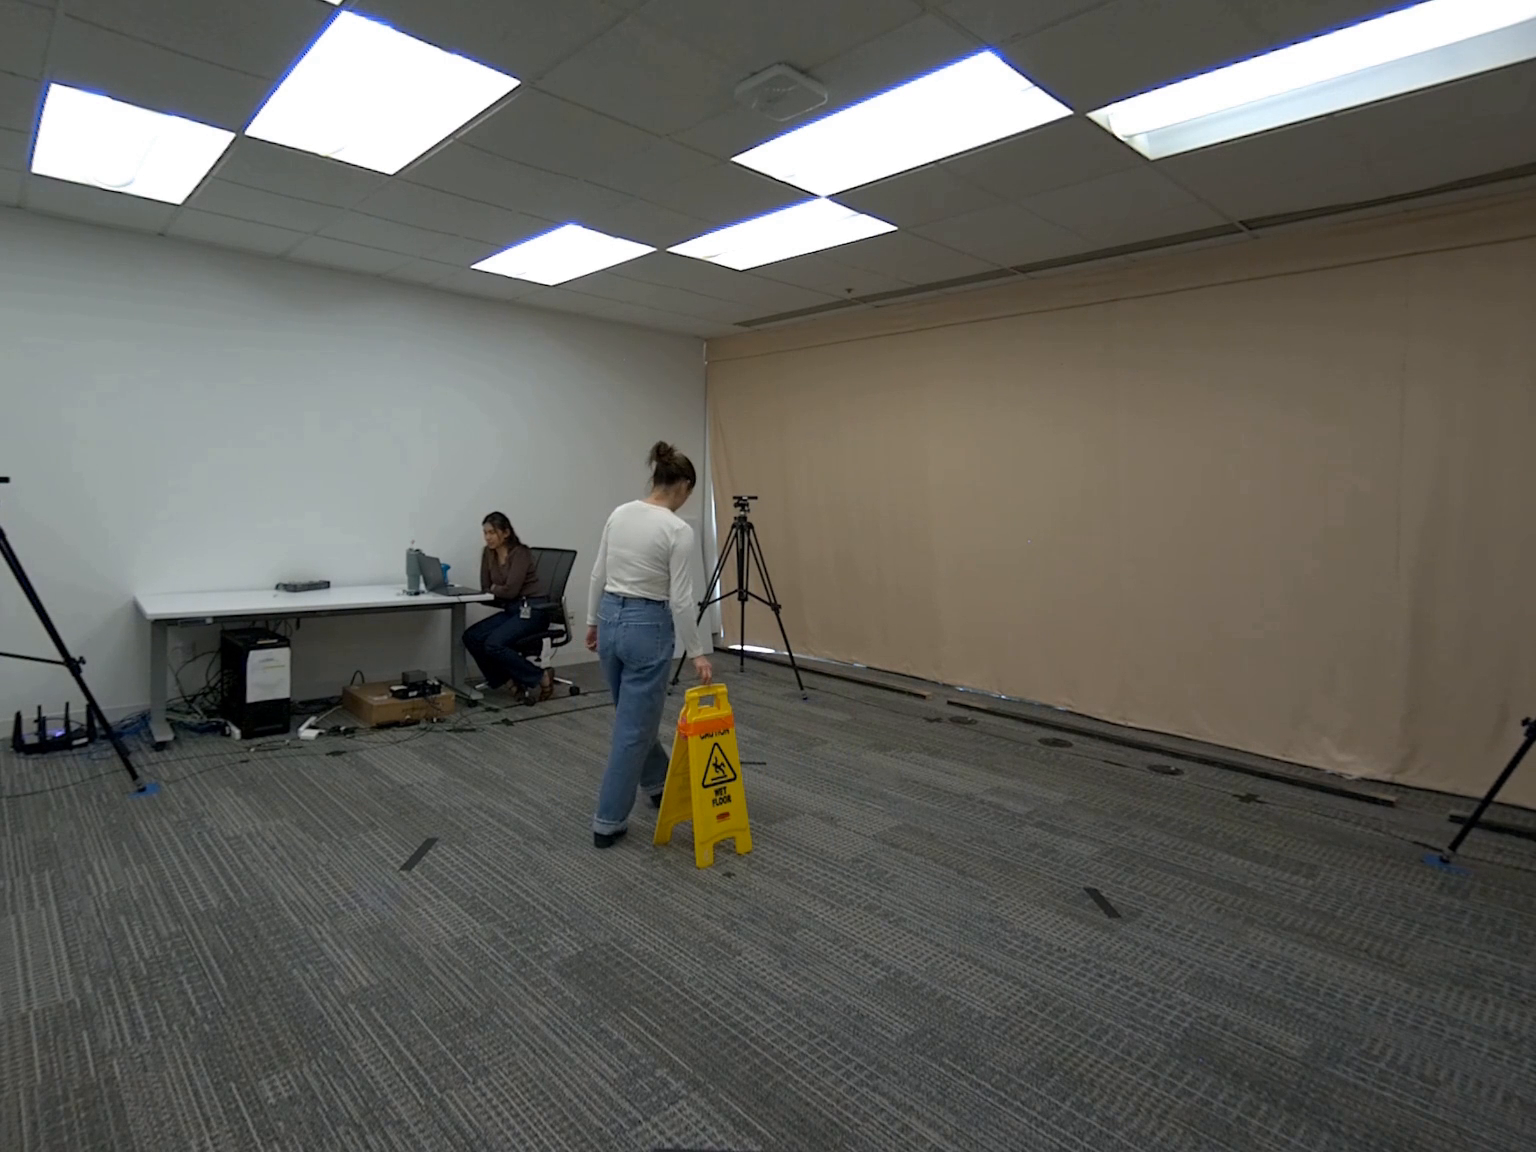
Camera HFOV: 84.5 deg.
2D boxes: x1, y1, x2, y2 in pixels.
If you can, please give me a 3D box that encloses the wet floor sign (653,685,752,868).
[{"bbox_3d":[-0.261,0.755,3.326,0.276,0.645,0.297,-1,3,-43],"label":"wet floor sign"}]
